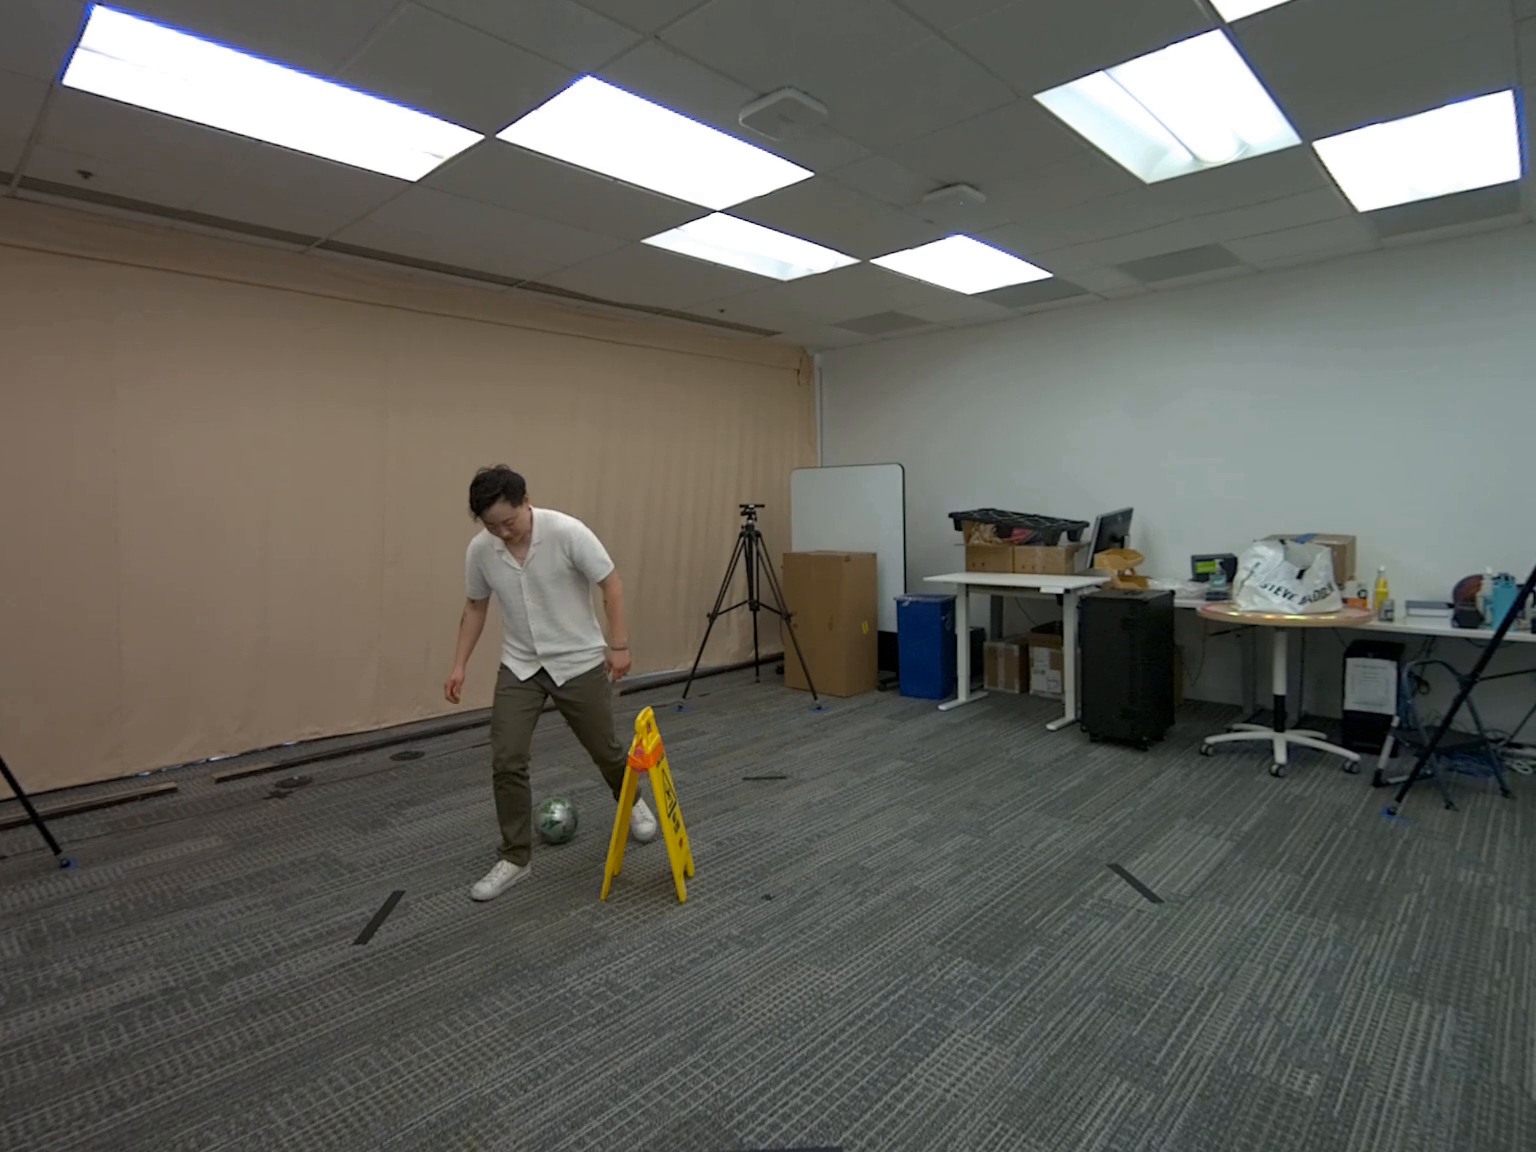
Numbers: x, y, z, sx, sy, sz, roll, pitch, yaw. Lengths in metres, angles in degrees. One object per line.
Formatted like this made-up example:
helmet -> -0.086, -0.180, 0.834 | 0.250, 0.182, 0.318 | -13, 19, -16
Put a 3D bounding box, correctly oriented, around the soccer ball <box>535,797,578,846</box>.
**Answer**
soccer ball -> -0.890, 1.028, 3.535 | 0.187, 0.187, 0.188 | -1, 4, -2
